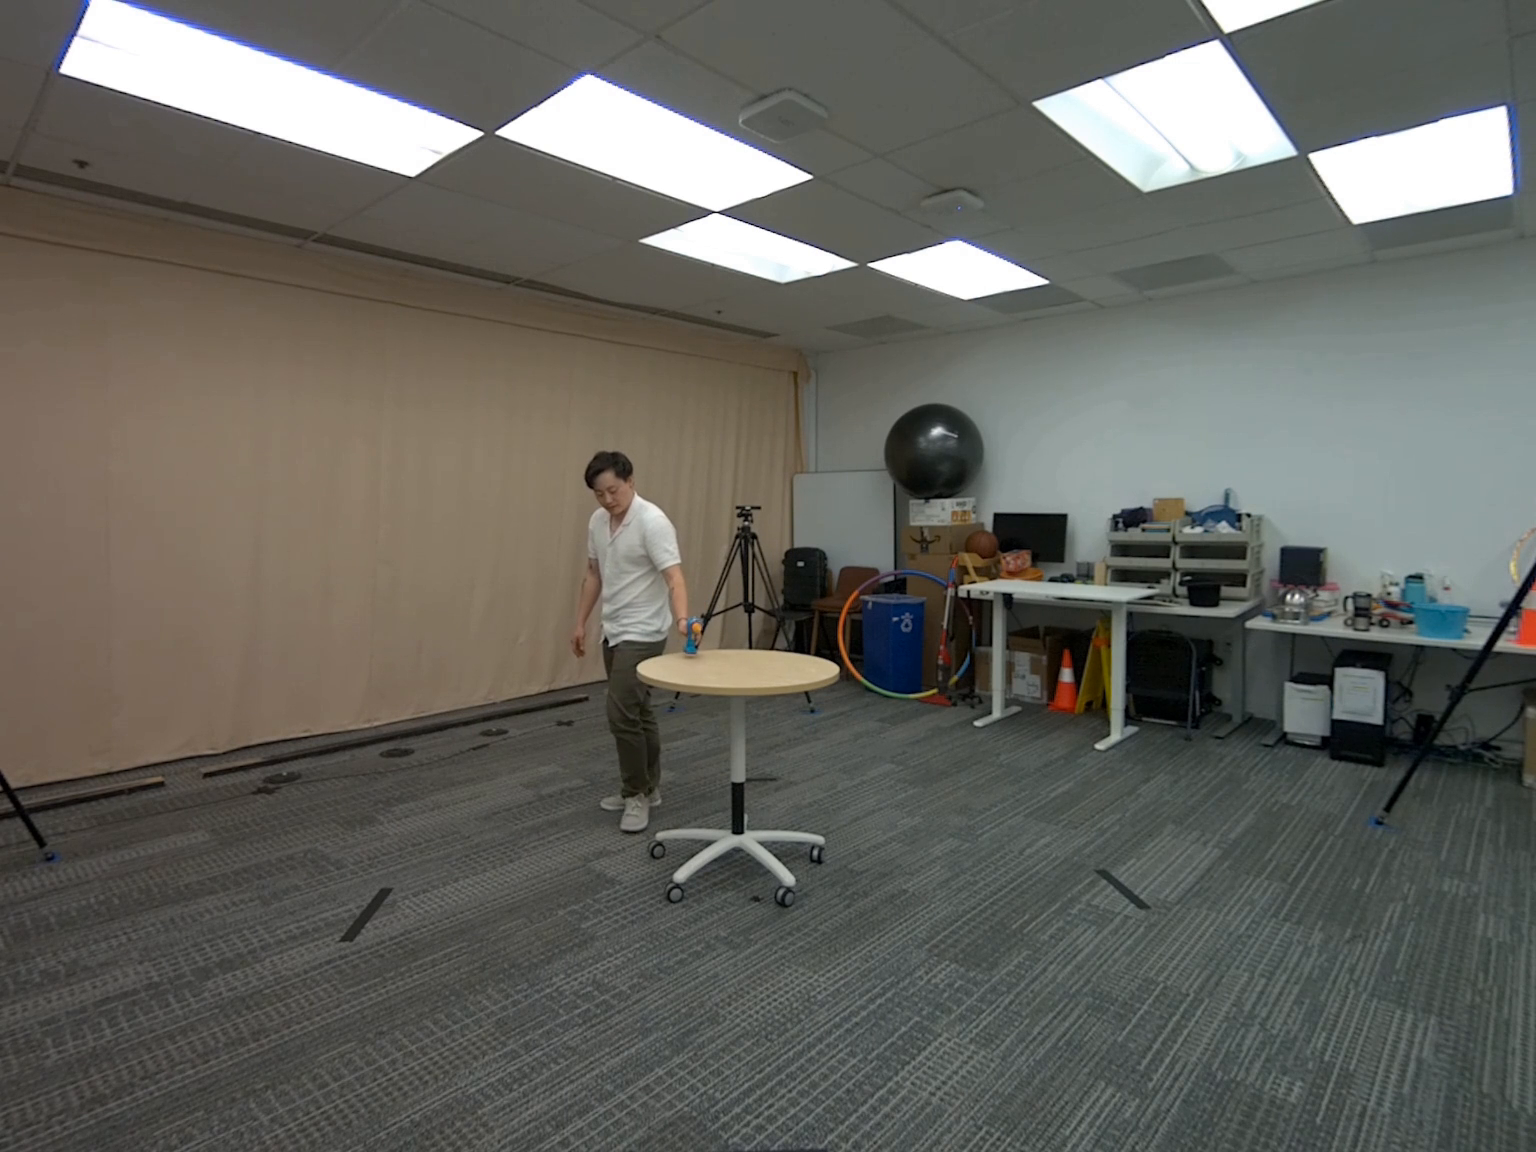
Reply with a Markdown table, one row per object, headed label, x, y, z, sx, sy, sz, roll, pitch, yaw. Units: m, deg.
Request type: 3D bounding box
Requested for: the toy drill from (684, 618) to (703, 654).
| label | x | y | z | sx | sy | sz | roll | pitch | yaw |
| --- | --- | --- | --- | --- | --- | --- | --- | --- | --- |
| toy drill | -0.291 | 0.242 | 3.337 | 0.060 | 0.146 | 0.173 | 6 | 2 | -18 |
